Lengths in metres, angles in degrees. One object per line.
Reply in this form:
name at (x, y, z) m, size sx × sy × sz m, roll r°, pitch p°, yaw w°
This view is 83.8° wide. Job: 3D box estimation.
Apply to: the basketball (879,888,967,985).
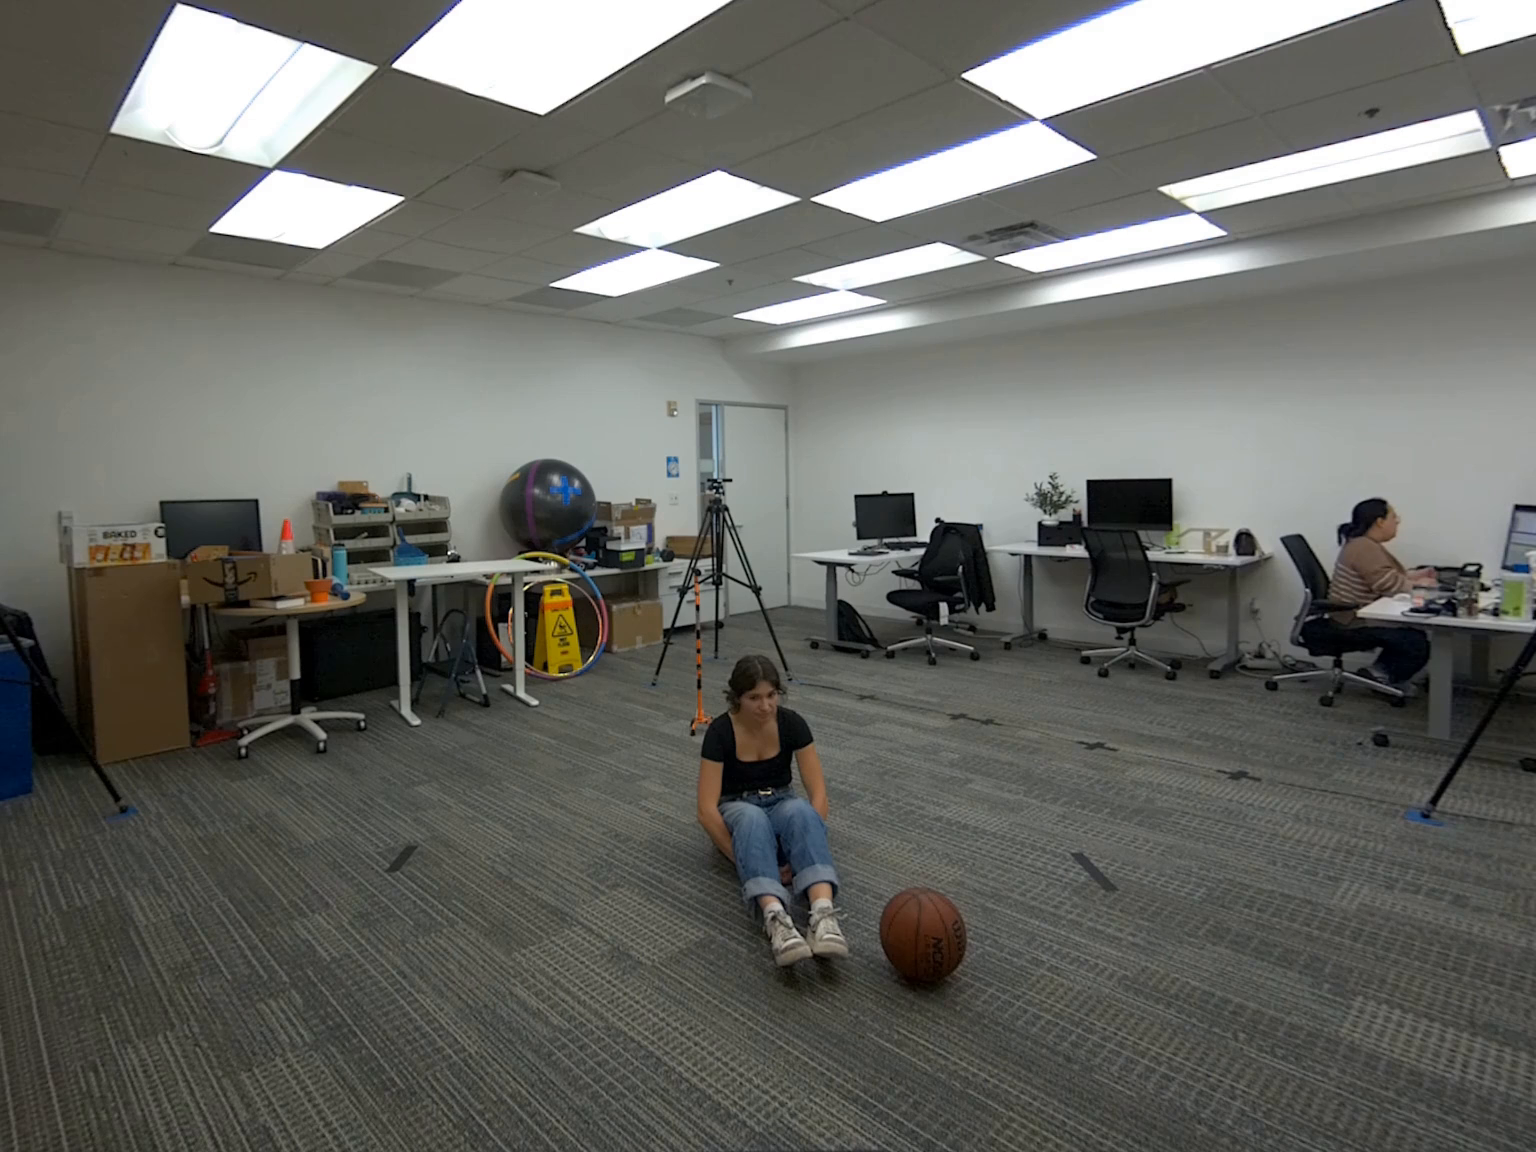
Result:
basketball at (0.439, 0.997, 2.386) m, size 0.236 × 0.235 × 0.237 m, roll -1°, pitch 5°, yaw -2°
